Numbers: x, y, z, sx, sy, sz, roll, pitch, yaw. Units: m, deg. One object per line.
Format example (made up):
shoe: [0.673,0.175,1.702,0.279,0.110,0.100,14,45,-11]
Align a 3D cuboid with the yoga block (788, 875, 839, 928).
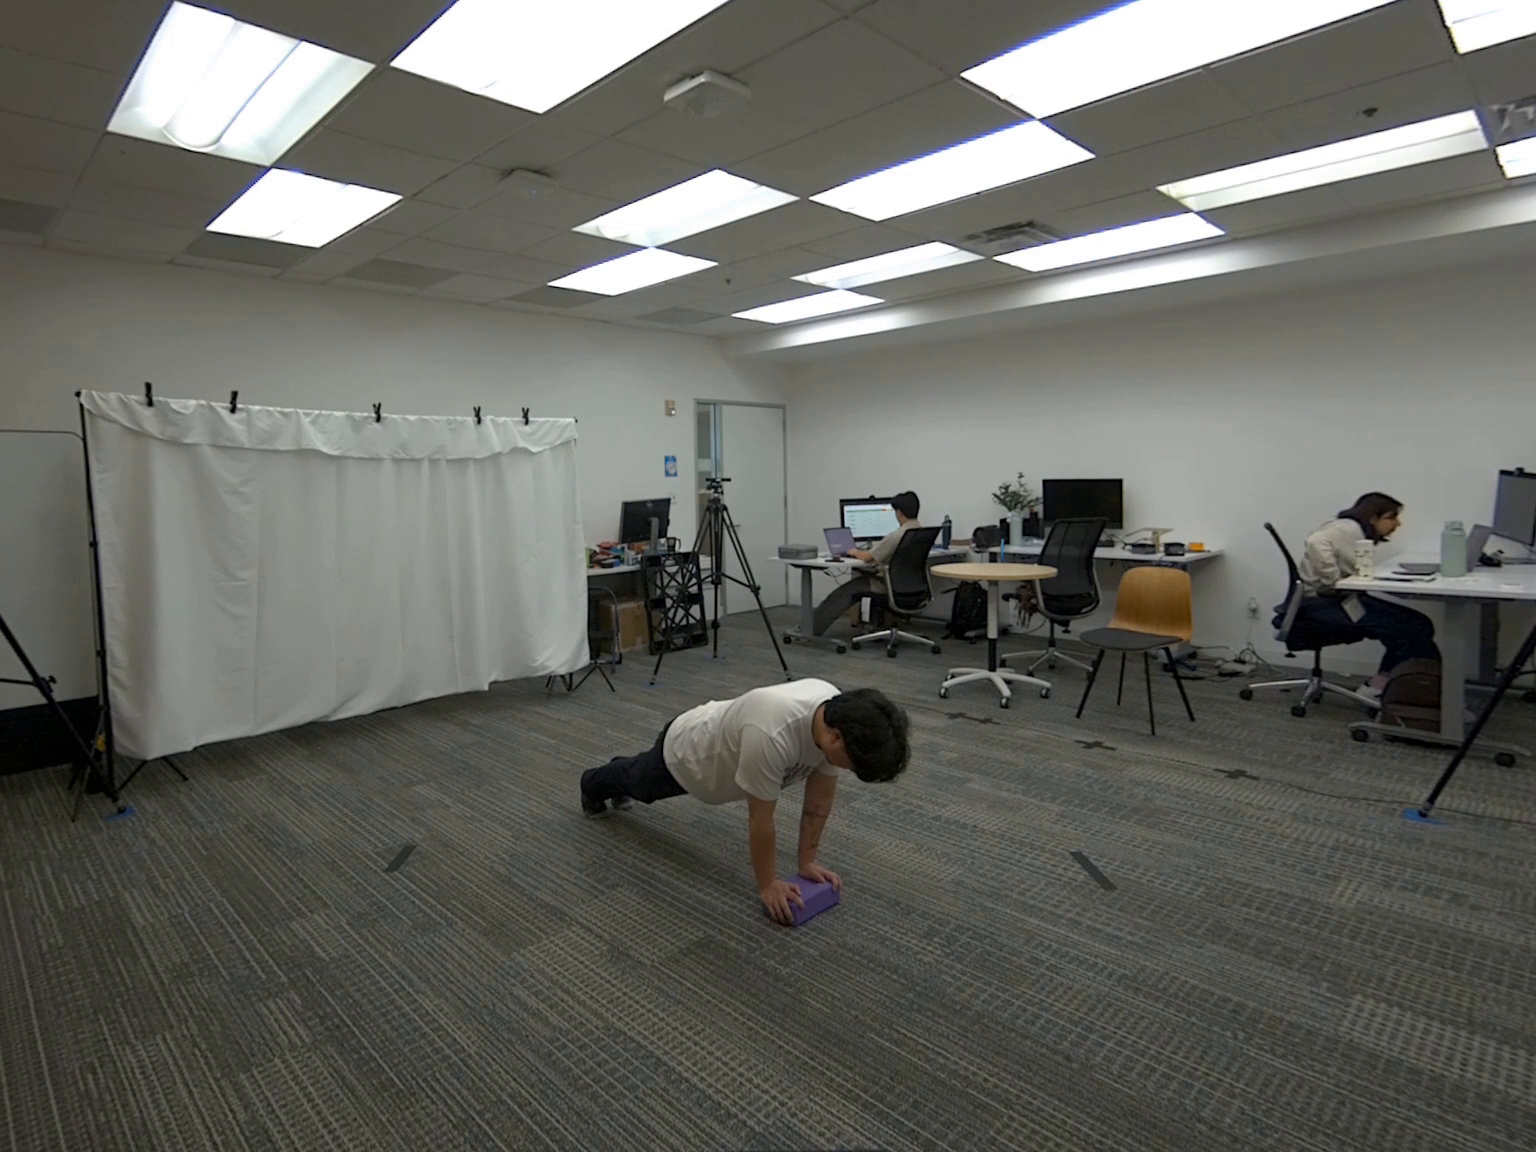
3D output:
yoga block: [0.111,1.045,2.778,0.153,0.076,0.223,4,8,45]
